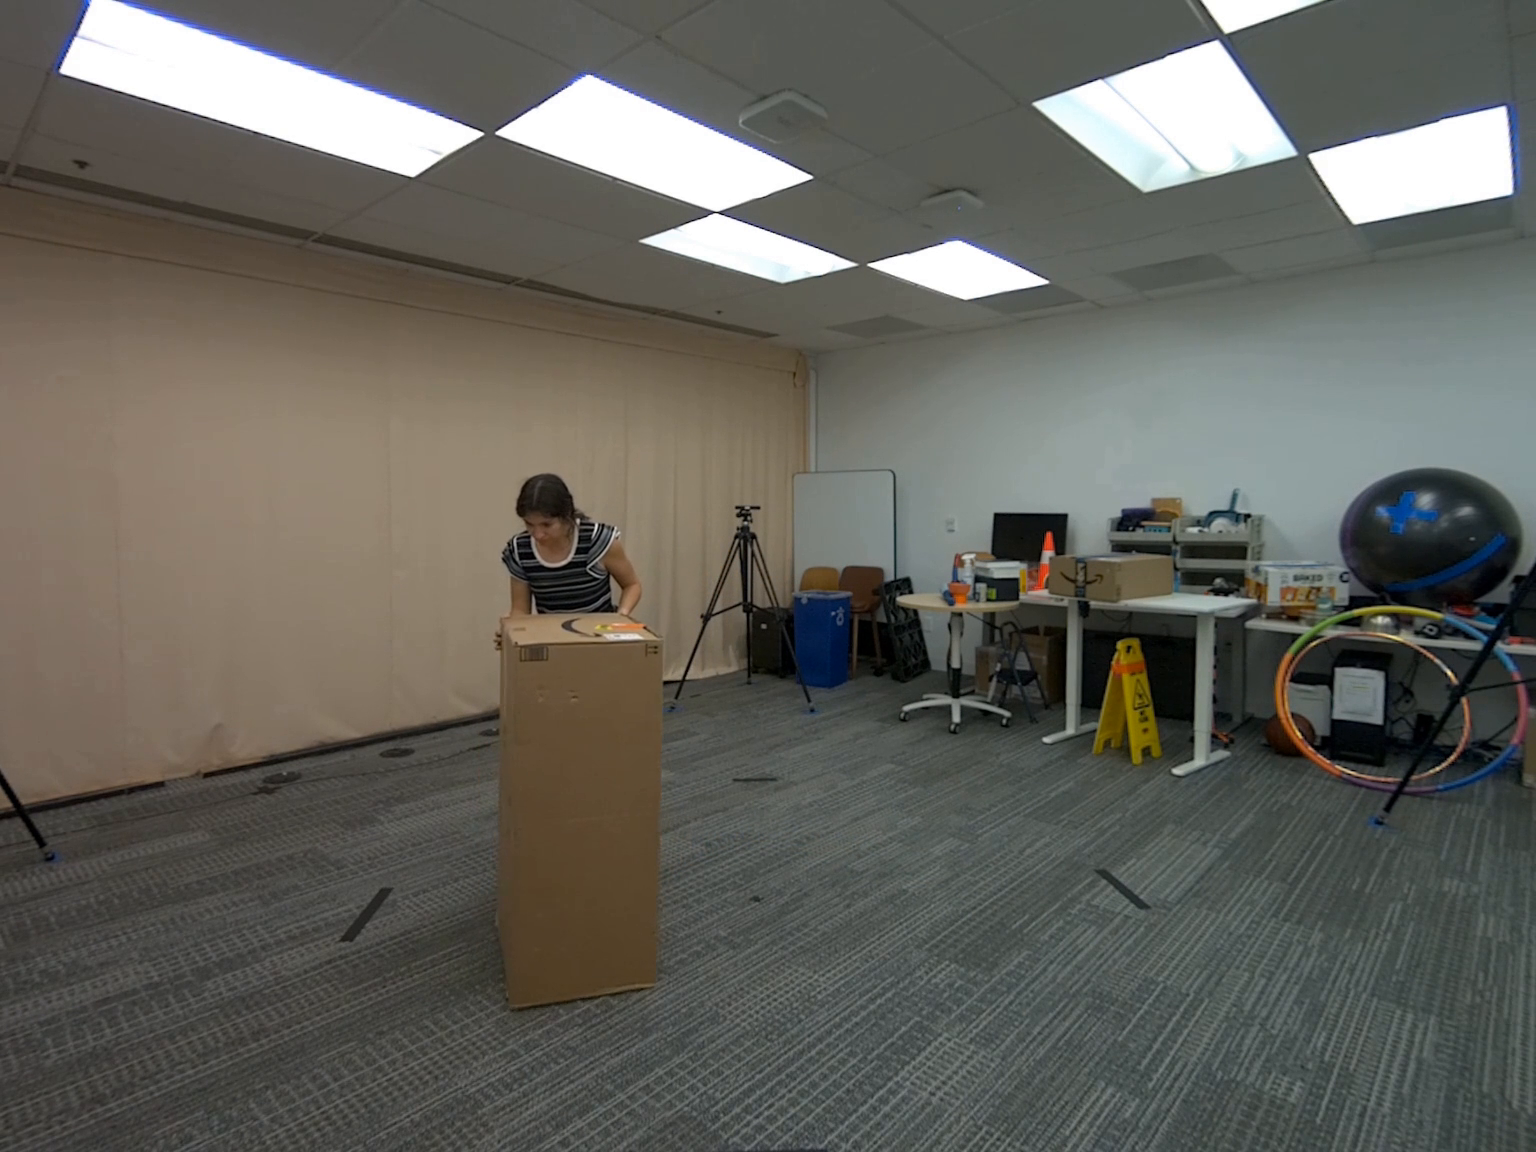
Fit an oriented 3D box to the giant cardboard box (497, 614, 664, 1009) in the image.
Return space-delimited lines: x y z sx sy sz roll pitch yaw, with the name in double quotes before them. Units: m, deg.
"giant cardboard box" -0.604 0.670 2.627 0.418 1.024 0.590 0 4 -19
